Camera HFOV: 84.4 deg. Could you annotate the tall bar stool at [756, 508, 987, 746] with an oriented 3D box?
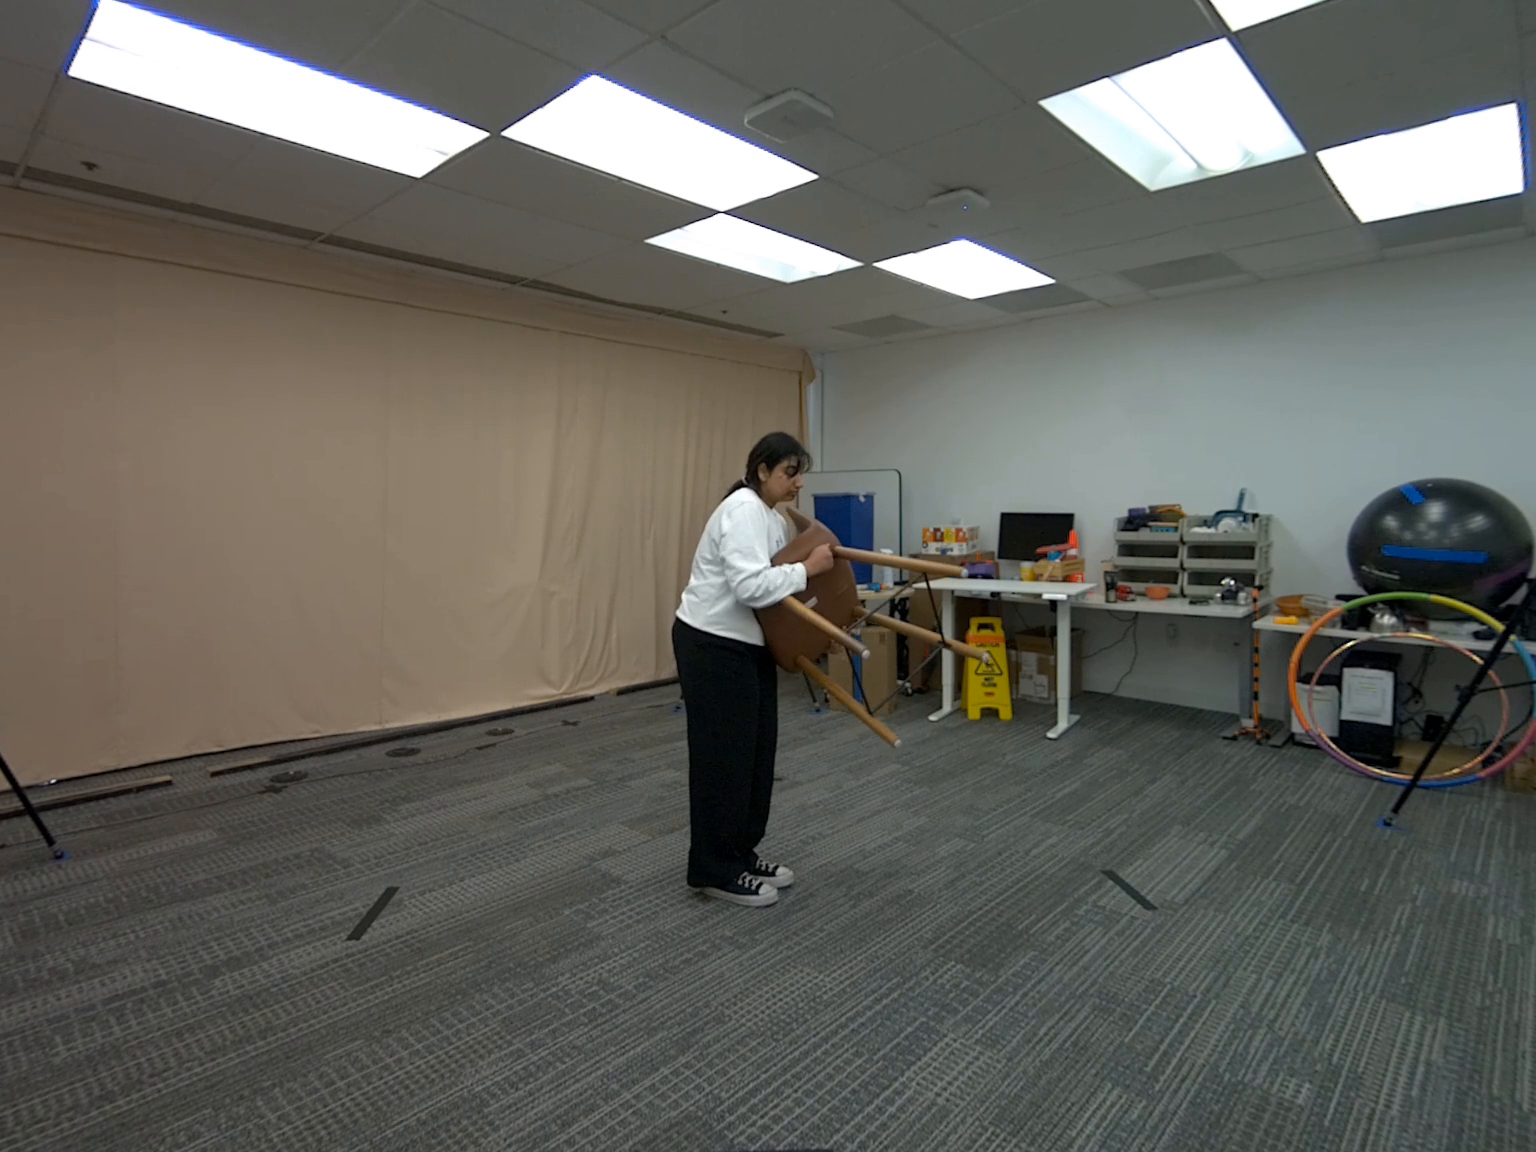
[{"bbox_3d":[0.258,0.126,2.899,0.463,0.444,0.922,-36,35,-20],"label":"tall bar stool"}]
